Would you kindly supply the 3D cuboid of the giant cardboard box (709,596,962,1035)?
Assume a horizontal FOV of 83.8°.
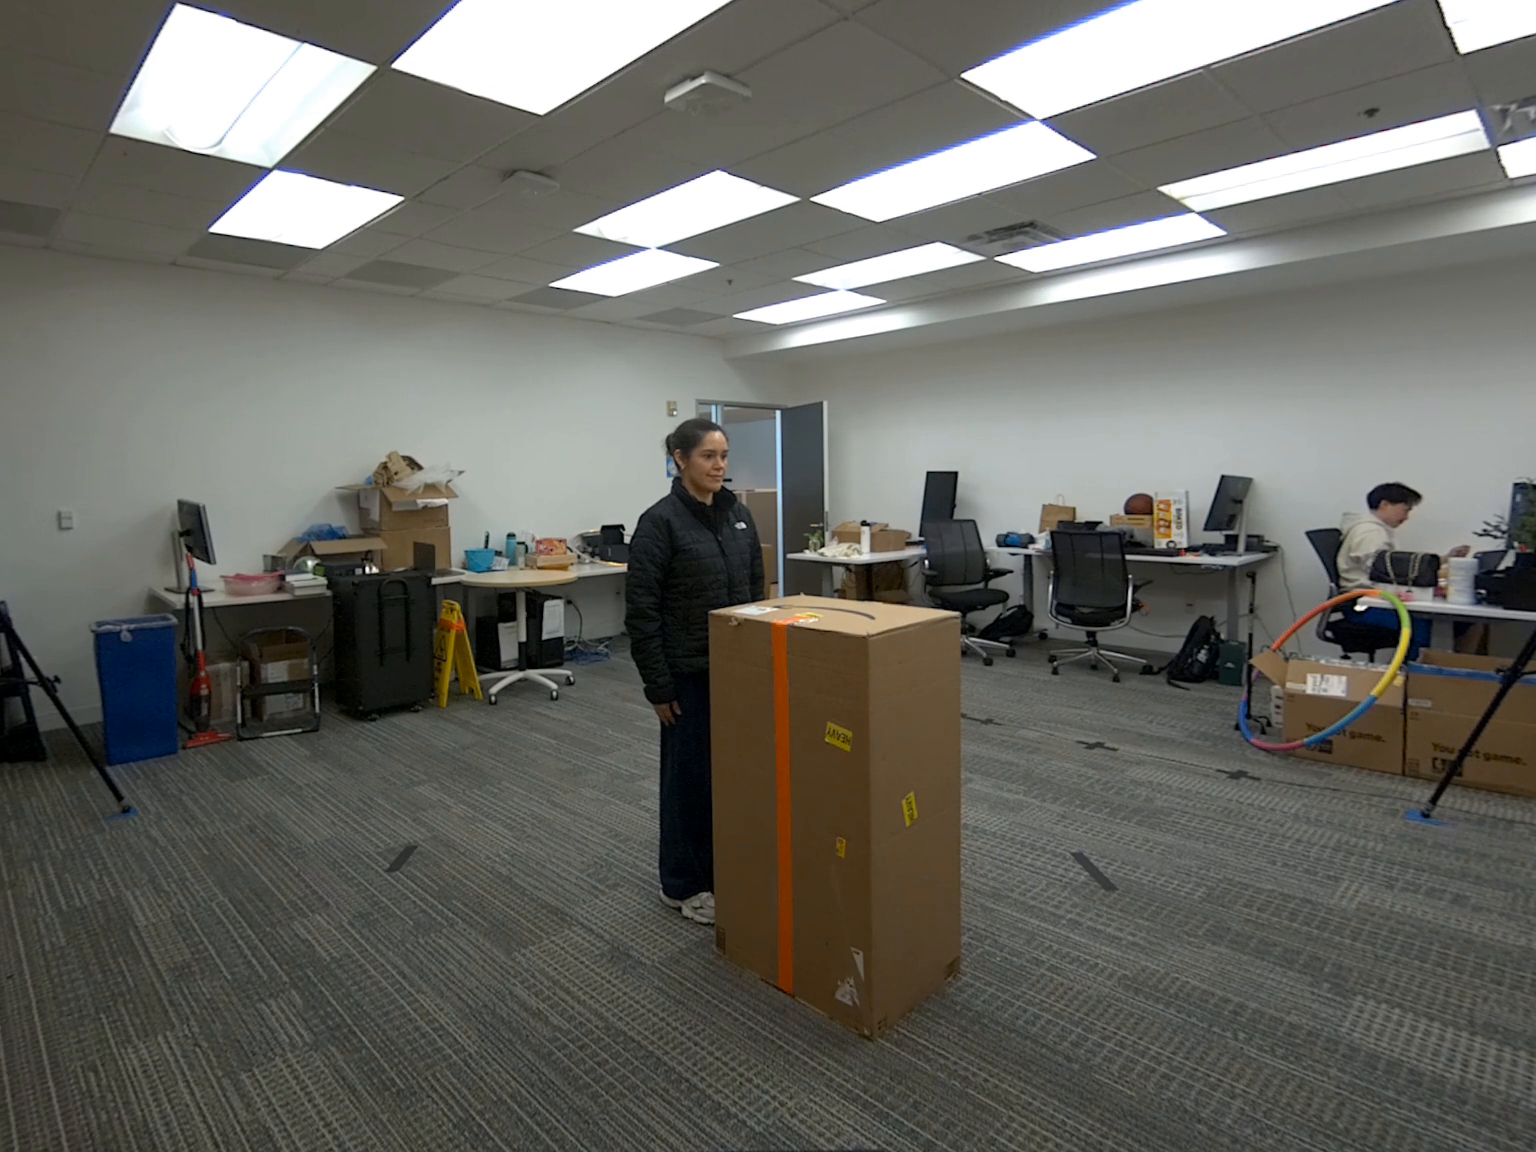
[{"bbox_3d":[0.190,0.608,2.437,0.435,1.023,0.602,-6,6,-44],"label":"giant cardboard box"}]
